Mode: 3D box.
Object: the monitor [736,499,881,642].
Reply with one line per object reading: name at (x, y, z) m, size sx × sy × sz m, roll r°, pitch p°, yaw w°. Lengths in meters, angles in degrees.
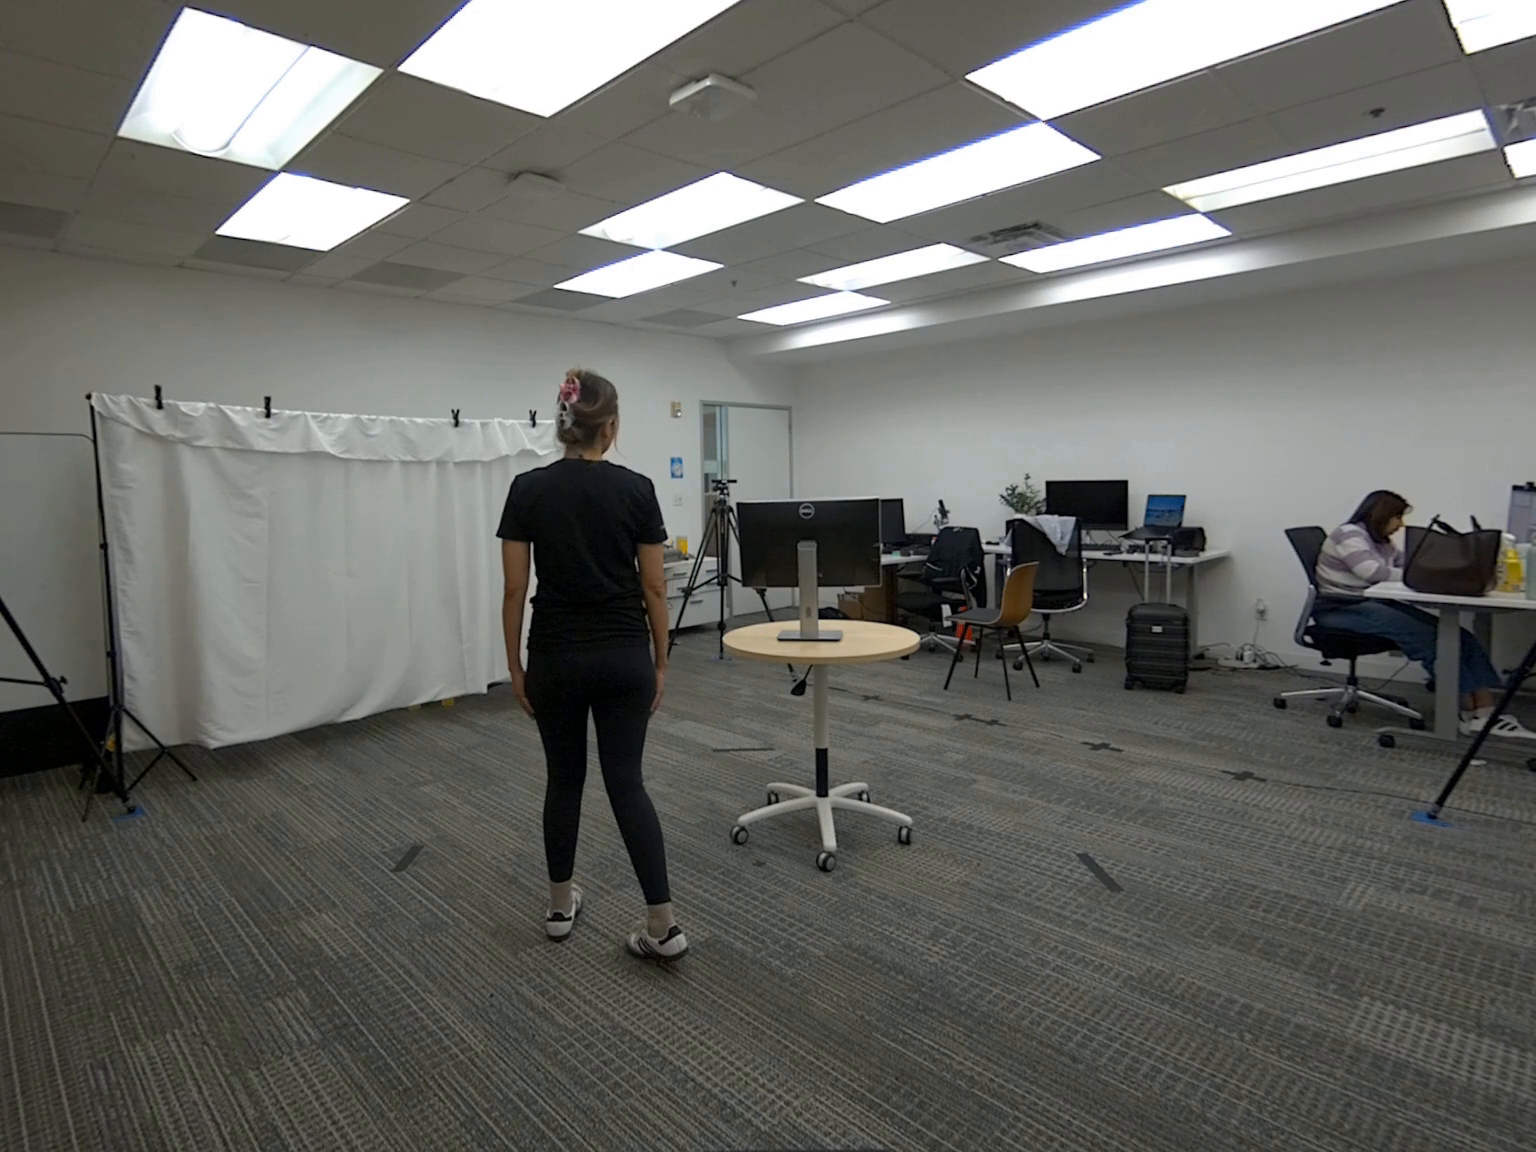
monitor at (0.157, -0.023, 3.332) m, size 0.543 × 0.521 × 0.186 m, roll -1°, pitch 3°, yaw 8°
